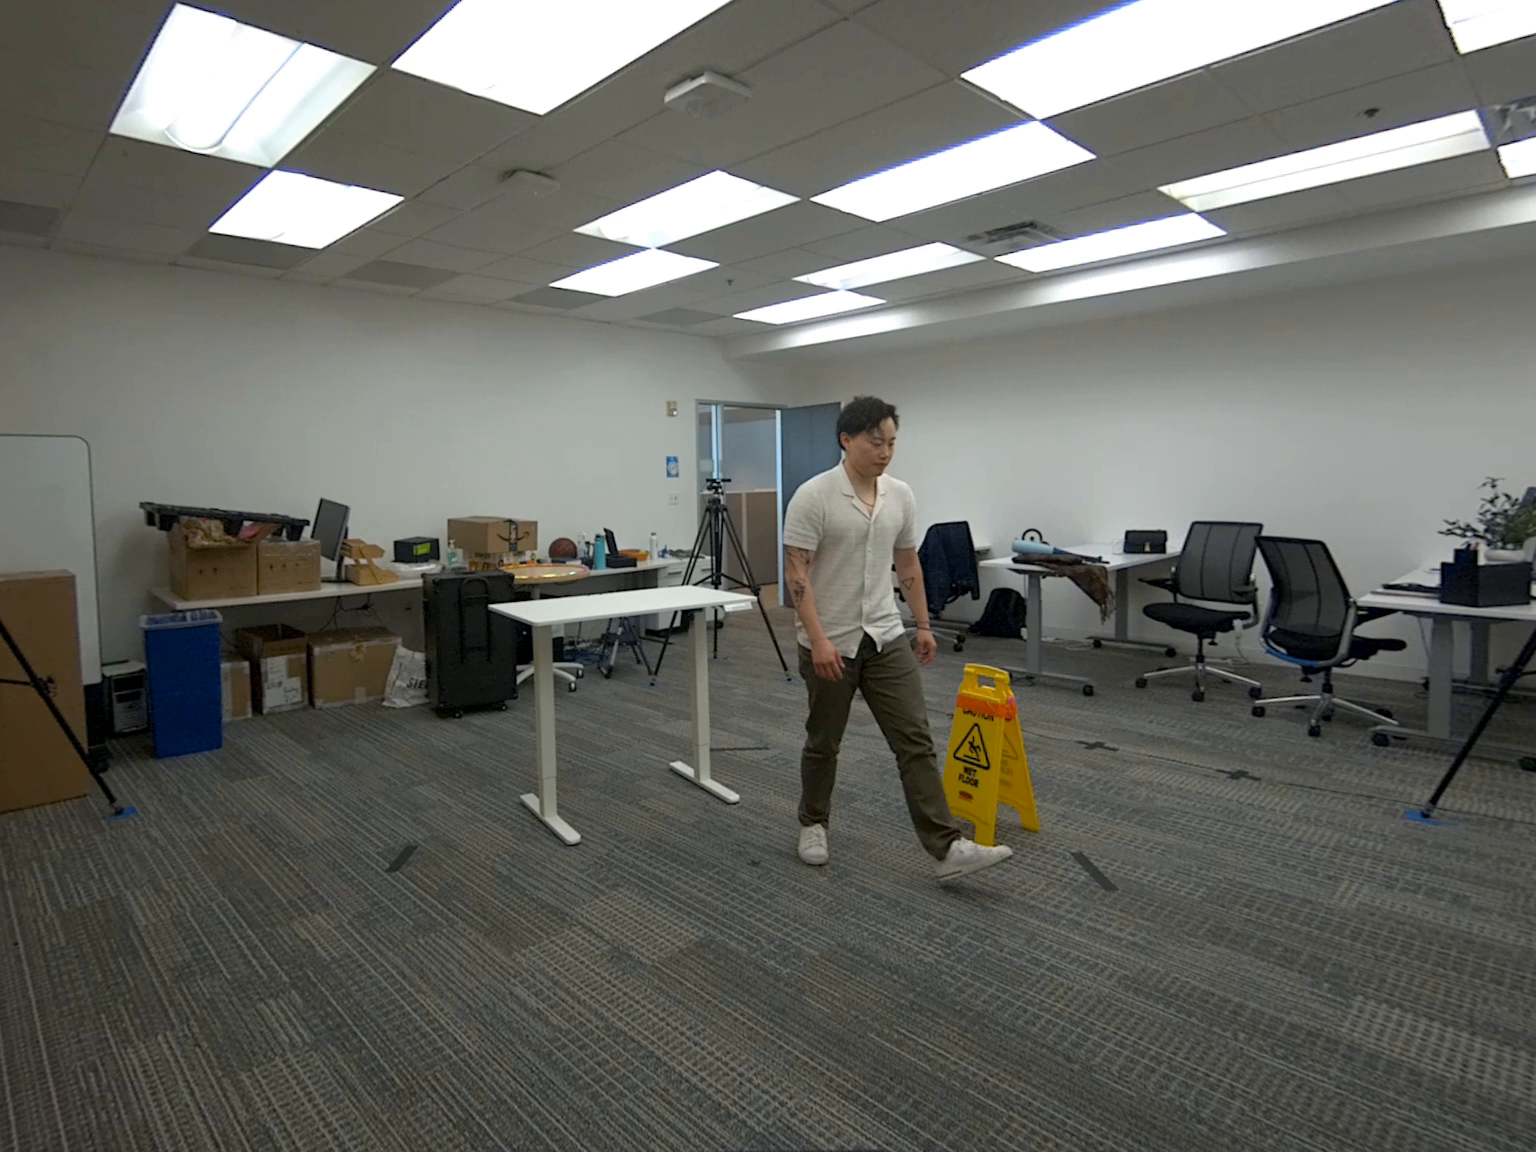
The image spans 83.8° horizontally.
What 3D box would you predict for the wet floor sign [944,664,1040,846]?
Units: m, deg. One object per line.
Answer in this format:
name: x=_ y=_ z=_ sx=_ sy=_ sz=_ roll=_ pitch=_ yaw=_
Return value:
wet floor sign: x=0.863 y=0.681 z=3.360 sx=0.282 sy=0.644 sz=0.291 roll=-3 pitch=5 yaw=-36
